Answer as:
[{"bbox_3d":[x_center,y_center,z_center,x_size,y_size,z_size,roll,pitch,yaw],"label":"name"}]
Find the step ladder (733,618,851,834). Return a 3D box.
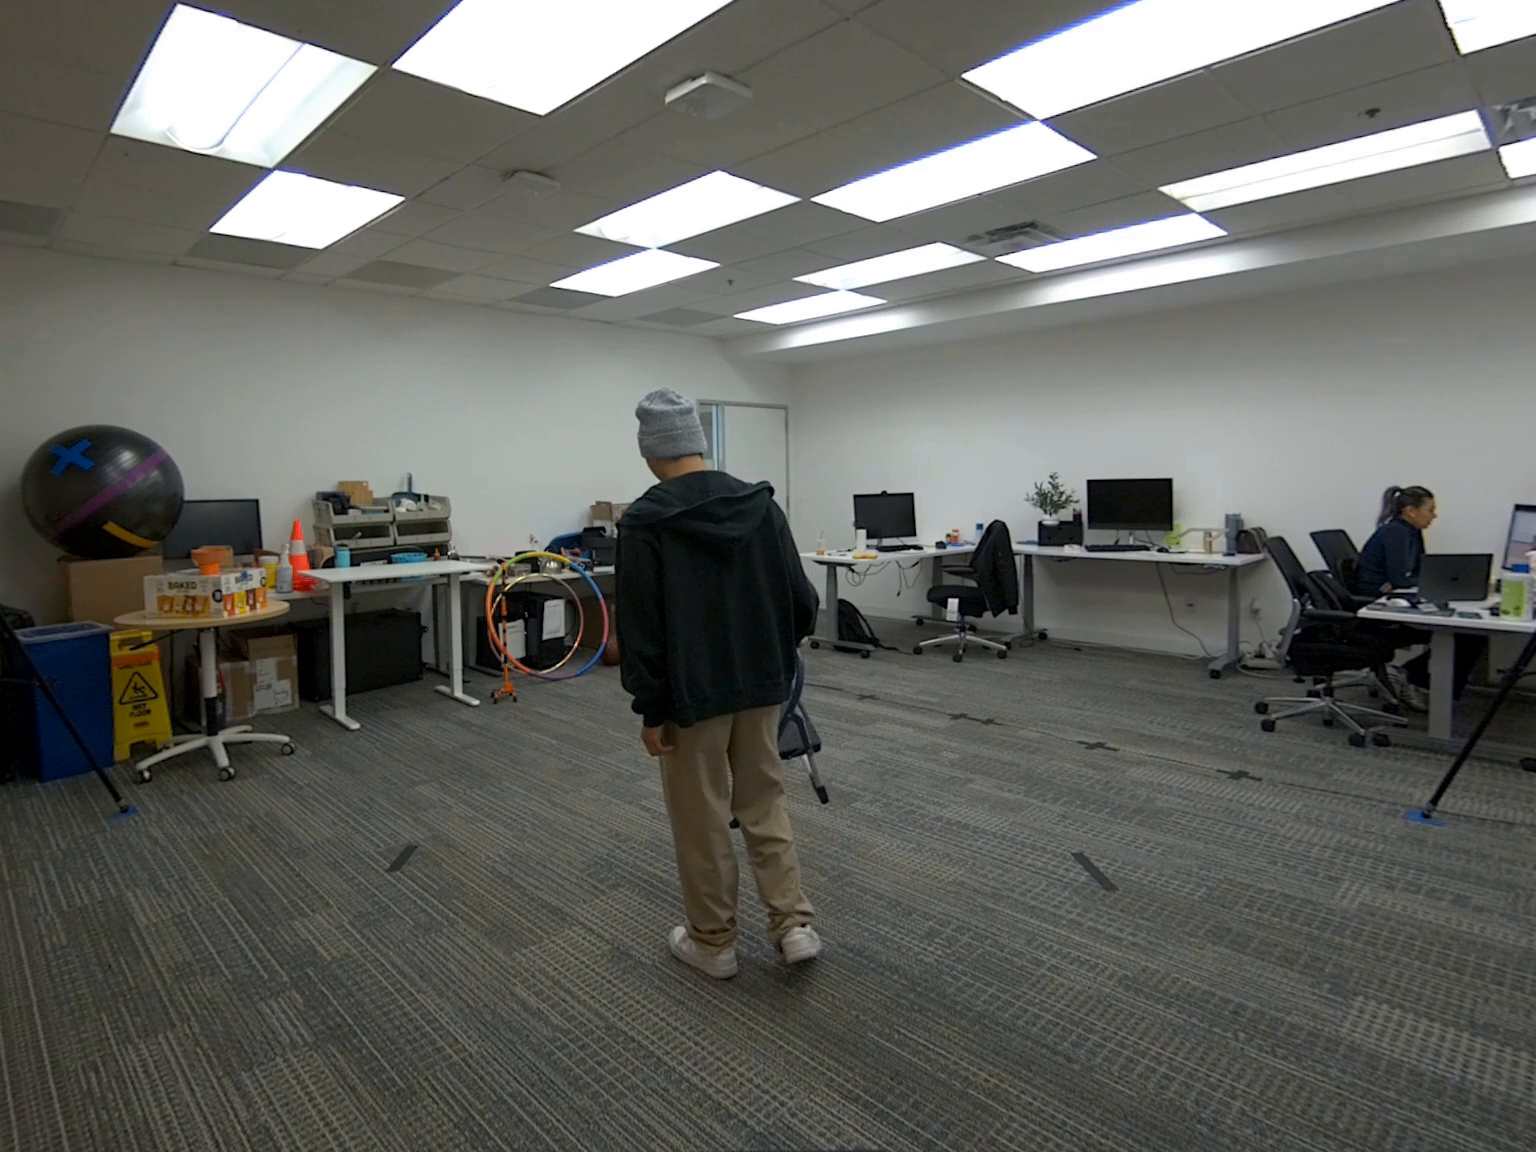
[{"bbox_3d":[0.000,0.437,2.843,0.345,0.592,0.446,-9,34,-16],"label":"step ladder"}]
